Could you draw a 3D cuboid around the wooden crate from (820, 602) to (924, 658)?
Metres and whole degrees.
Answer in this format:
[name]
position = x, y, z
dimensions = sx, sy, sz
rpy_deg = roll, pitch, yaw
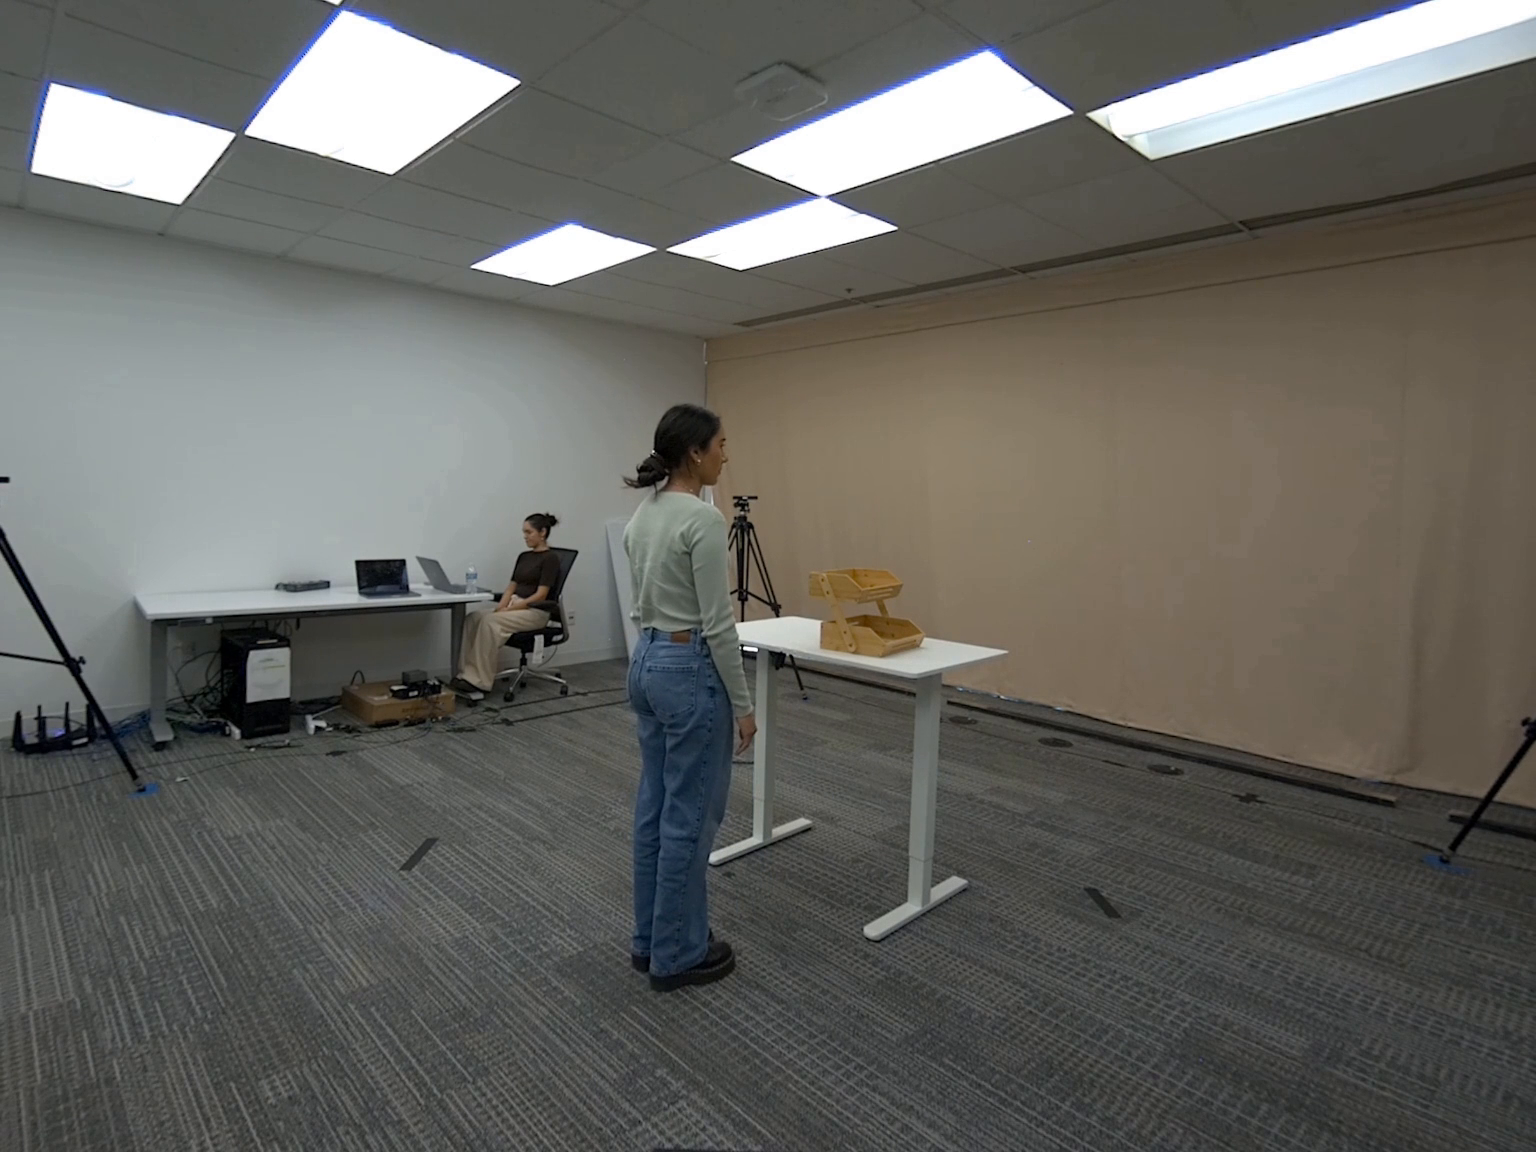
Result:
[wooden crate]
position = 0.349, 0.118, 2.932
dimensions = 0.309, 0.273, 0.317
rpy_deg = 4, 5, 36
